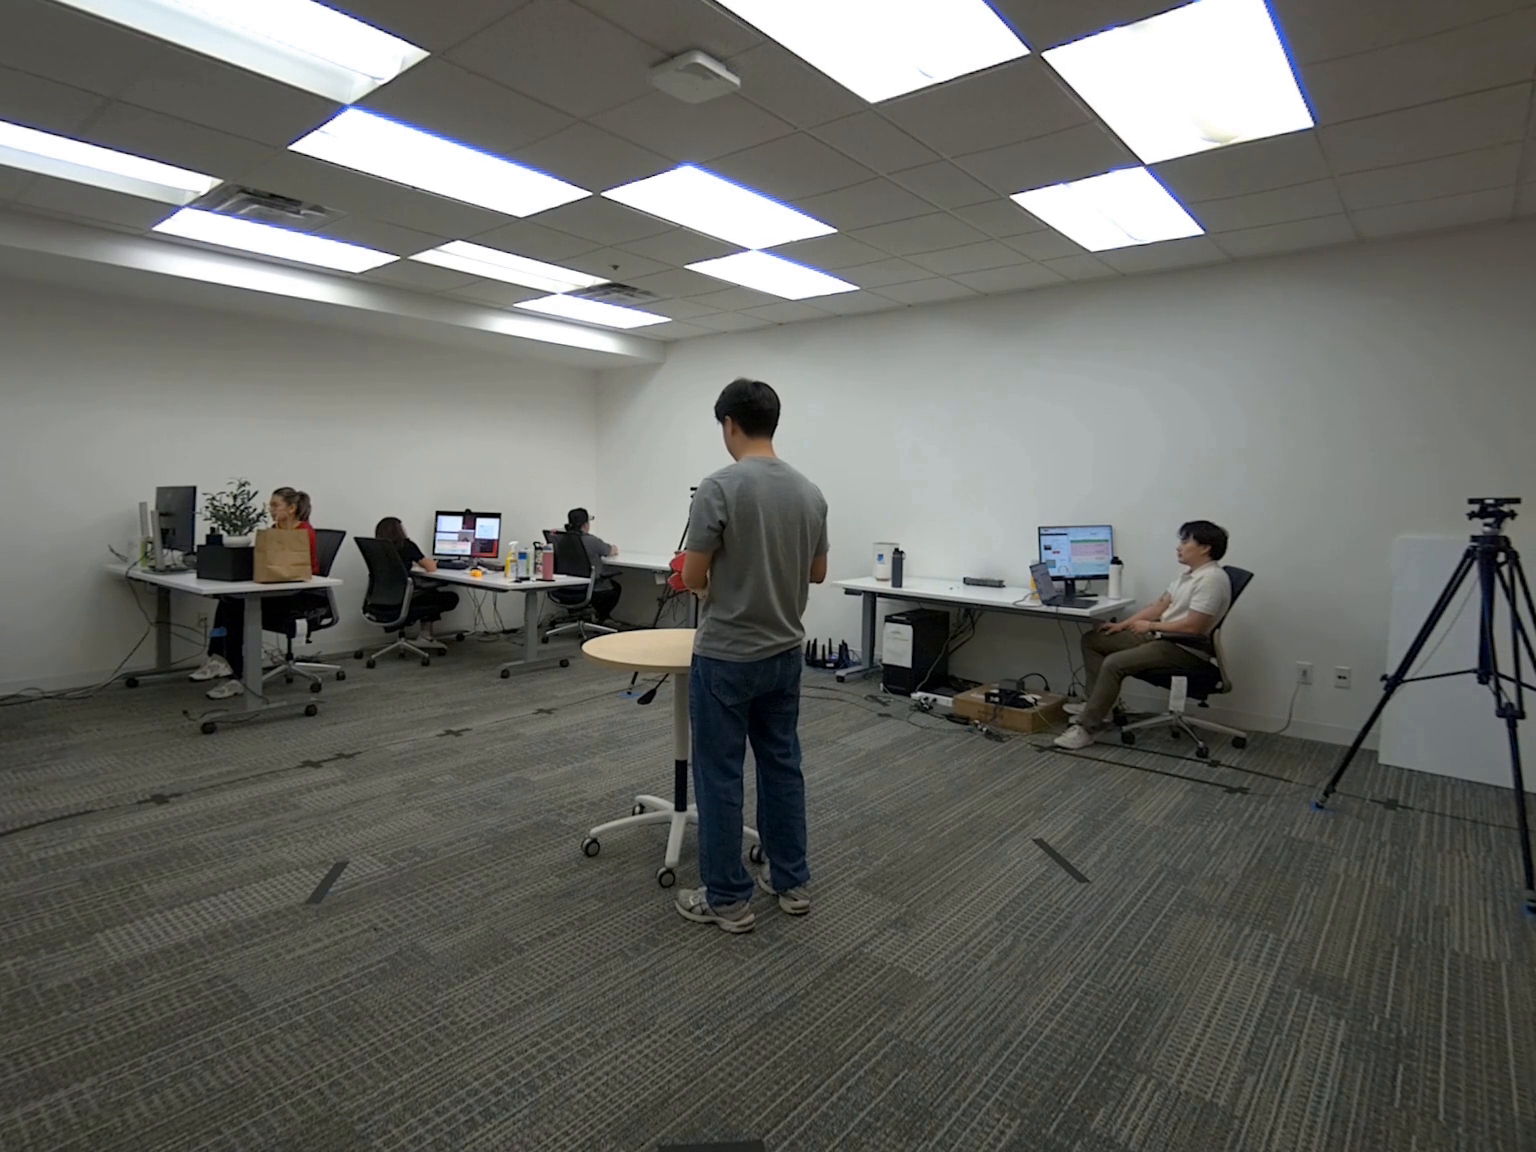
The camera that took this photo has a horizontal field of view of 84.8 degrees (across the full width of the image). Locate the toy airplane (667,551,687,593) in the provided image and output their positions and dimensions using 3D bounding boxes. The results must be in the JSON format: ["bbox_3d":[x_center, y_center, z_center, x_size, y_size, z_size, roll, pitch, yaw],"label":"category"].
[{"bbox_3d":[-0.218,-0.011,3.068,0.266,0.153,0.251,8,28,21],"label":"toy airplane"}]
